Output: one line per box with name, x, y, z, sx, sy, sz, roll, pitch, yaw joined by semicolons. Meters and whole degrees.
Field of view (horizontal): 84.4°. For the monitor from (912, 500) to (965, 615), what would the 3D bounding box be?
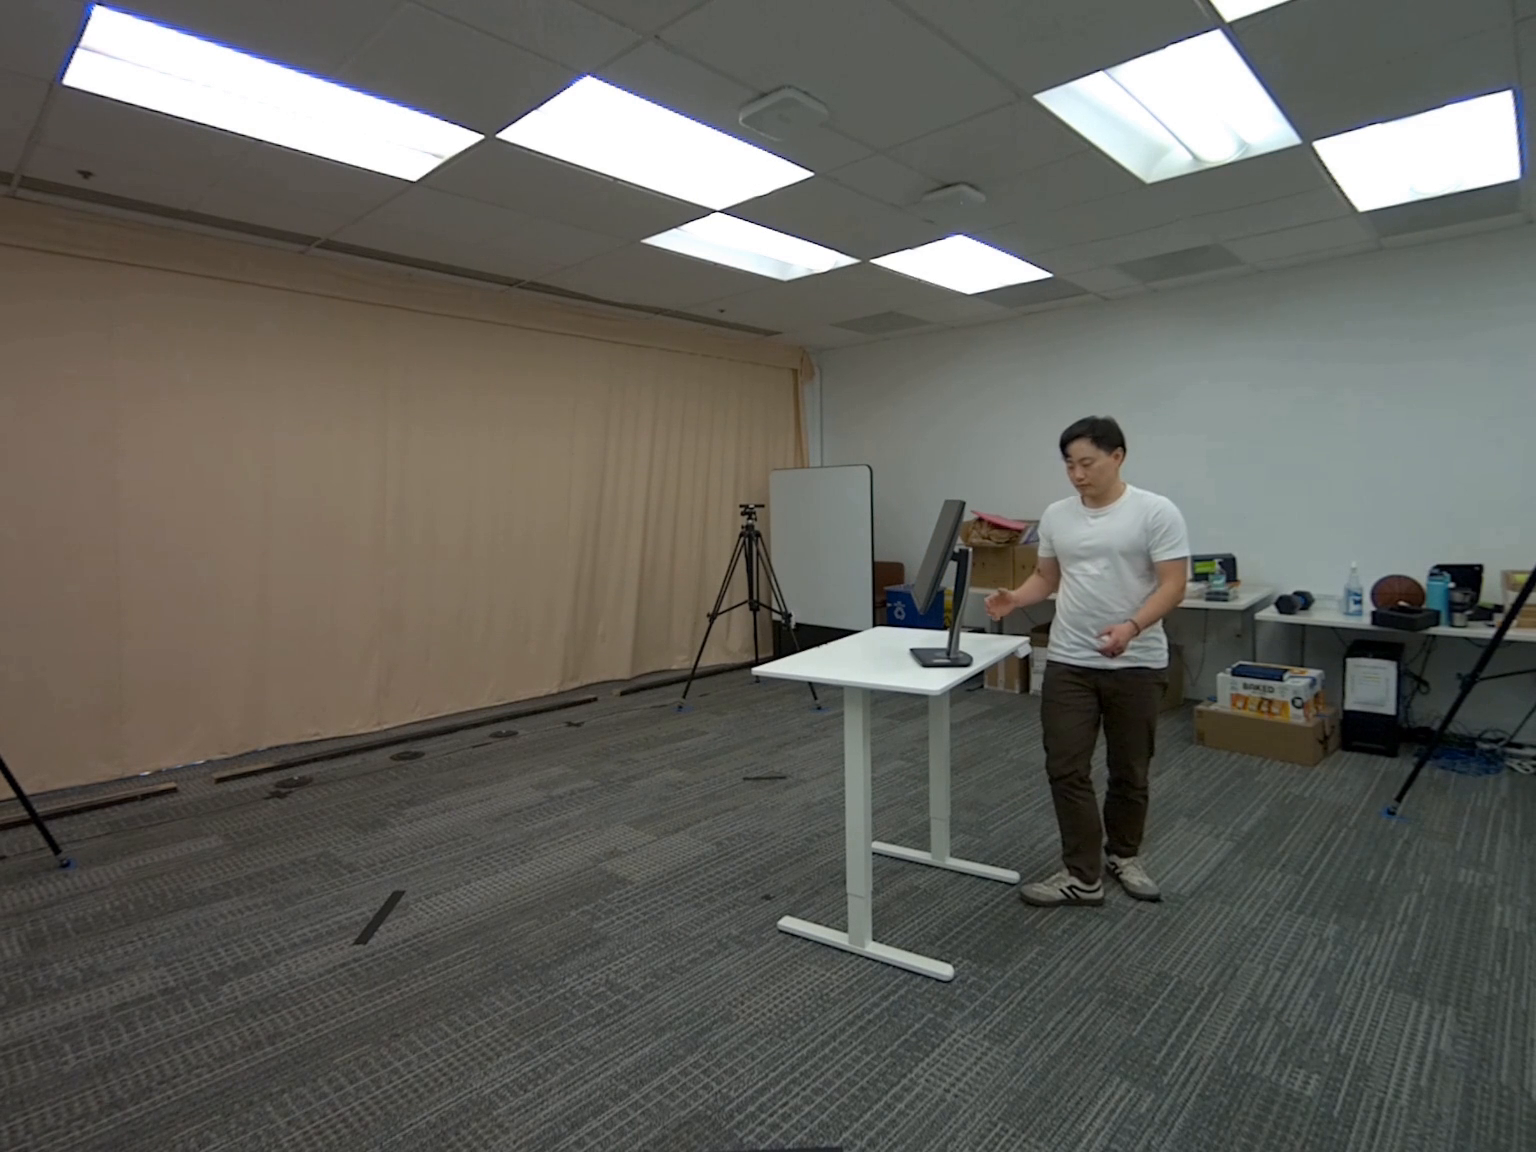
monitor;0.580;0.018;2.714;0.188;0.521;0.536;3;4;4
